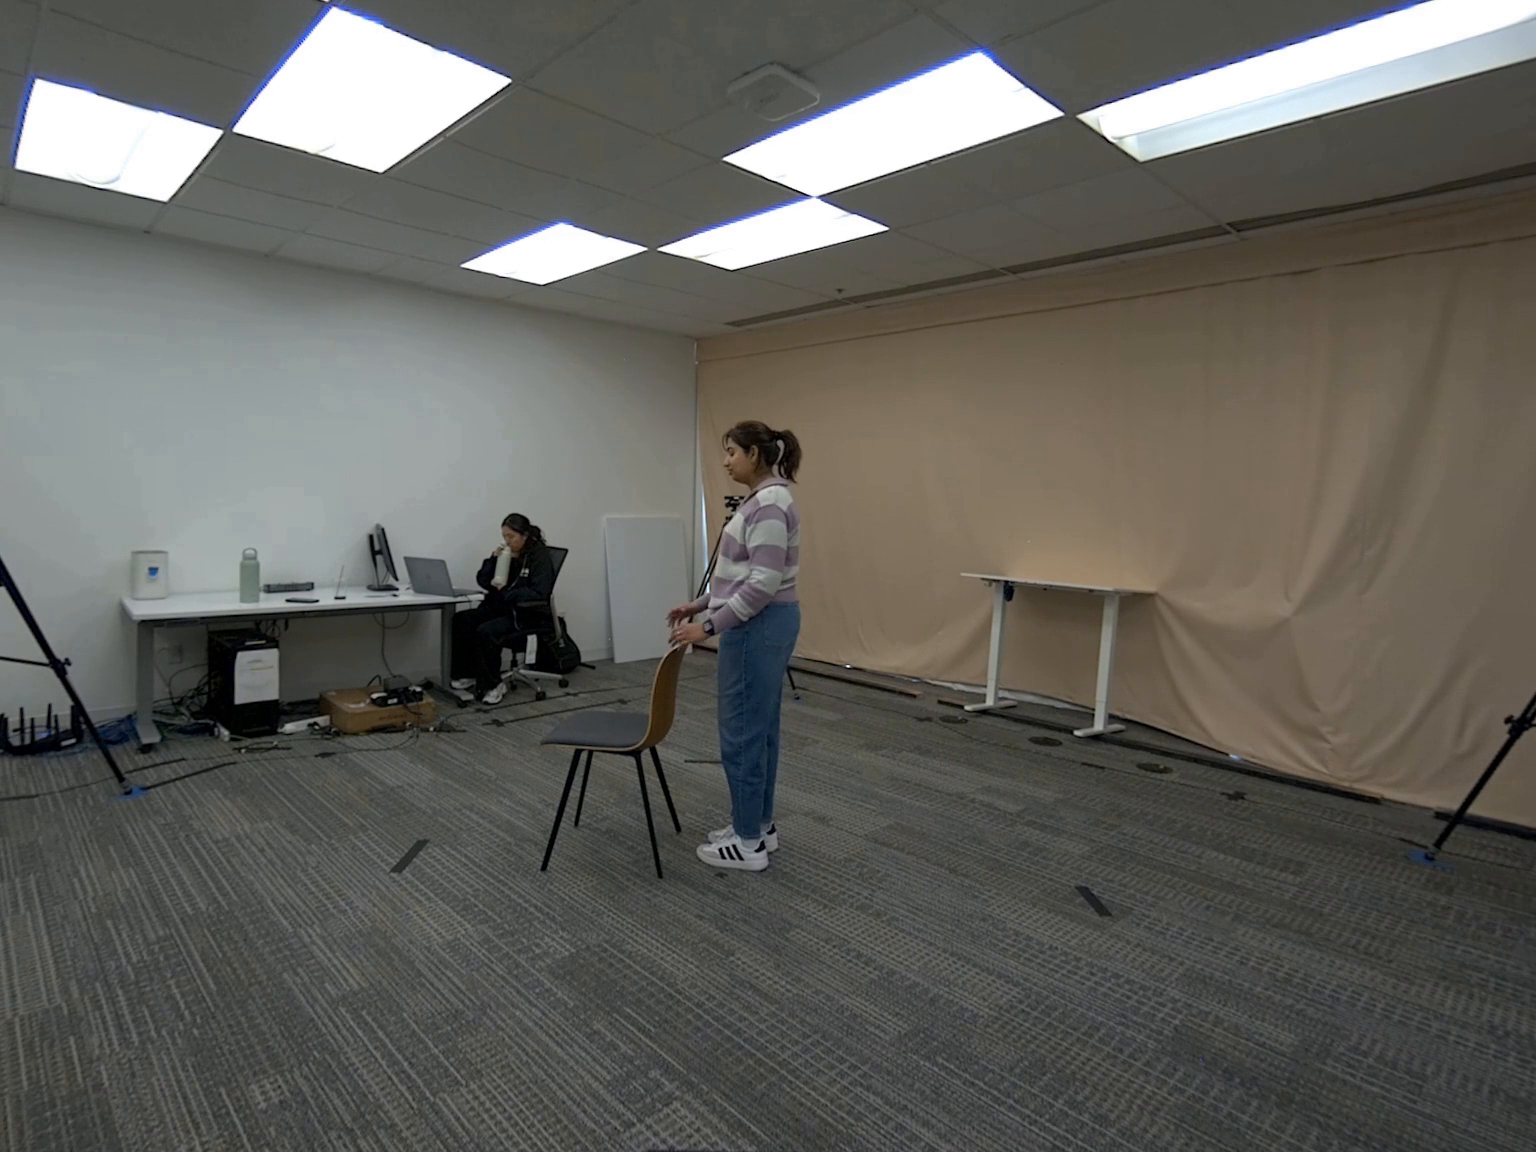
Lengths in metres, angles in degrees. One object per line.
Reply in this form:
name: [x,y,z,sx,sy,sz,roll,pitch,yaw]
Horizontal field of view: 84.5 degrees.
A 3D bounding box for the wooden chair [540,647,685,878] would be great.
wooden chair: [-0.599,0.647,3.260,0.525,0.875,0.478,6,5,3]
